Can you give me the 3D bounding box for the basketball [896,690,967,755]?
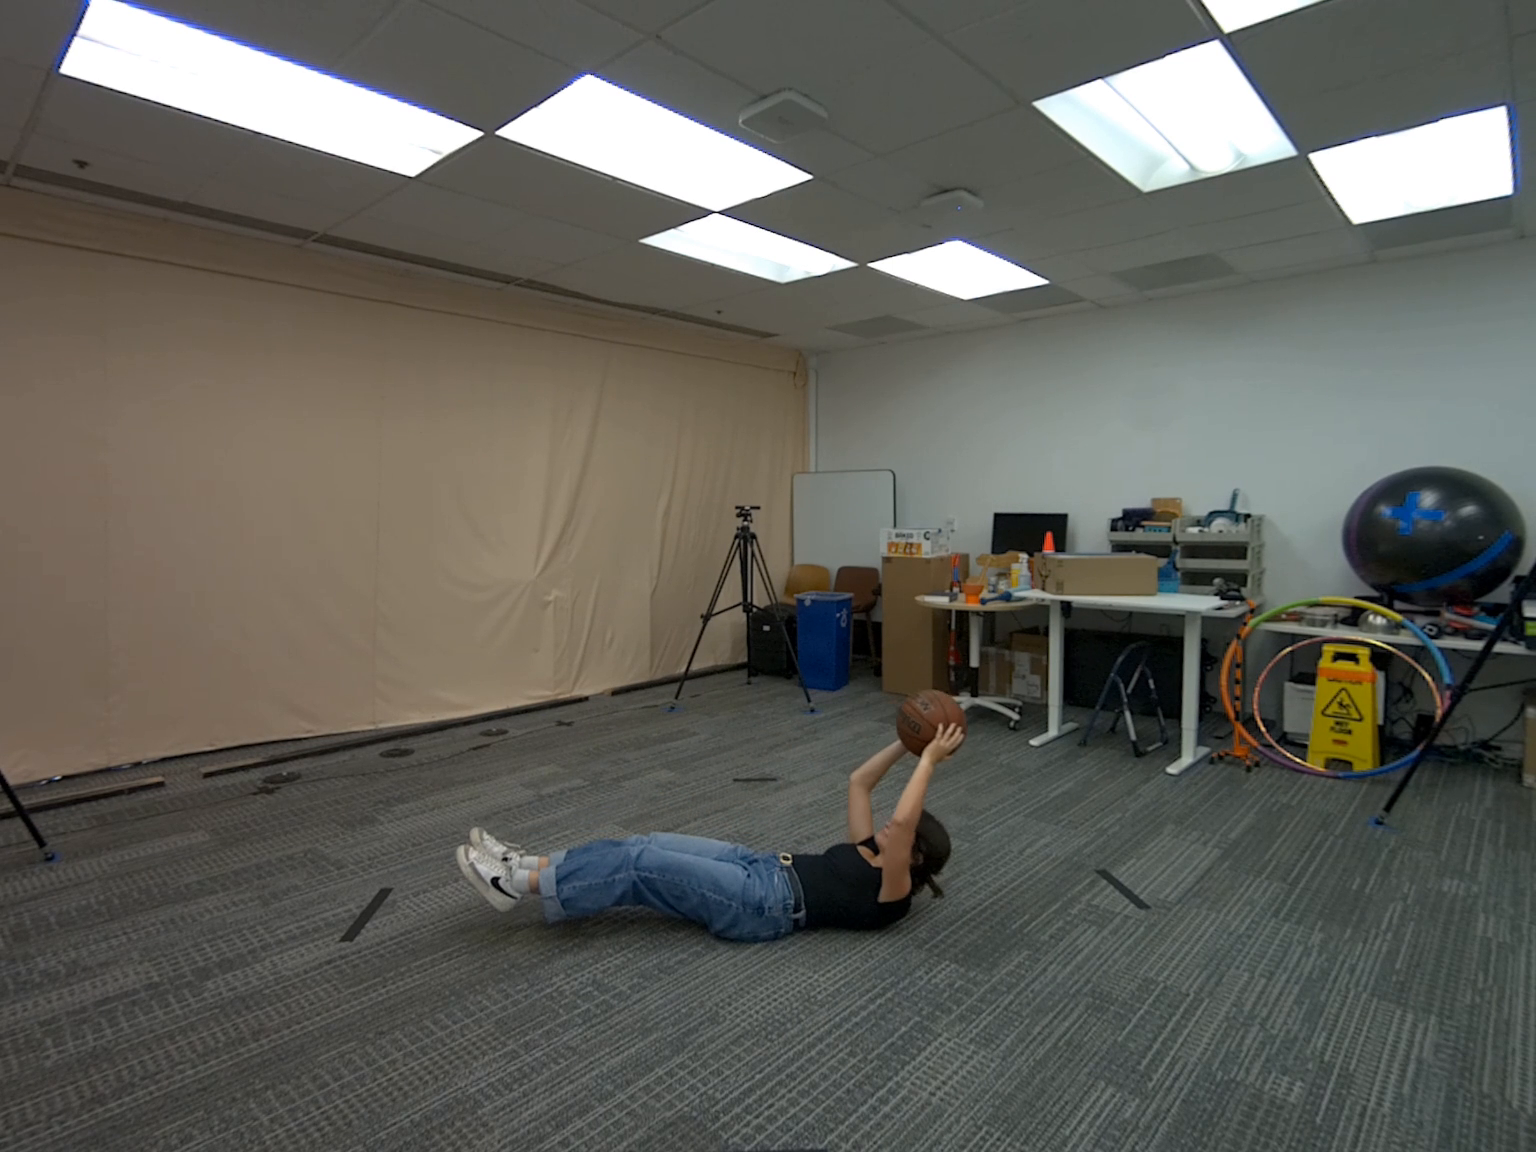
[{"bbox_3d":[0.569,0.517,2.921,0.236,0.235,0.237,0,4,-2],"label":"basketball"}]
